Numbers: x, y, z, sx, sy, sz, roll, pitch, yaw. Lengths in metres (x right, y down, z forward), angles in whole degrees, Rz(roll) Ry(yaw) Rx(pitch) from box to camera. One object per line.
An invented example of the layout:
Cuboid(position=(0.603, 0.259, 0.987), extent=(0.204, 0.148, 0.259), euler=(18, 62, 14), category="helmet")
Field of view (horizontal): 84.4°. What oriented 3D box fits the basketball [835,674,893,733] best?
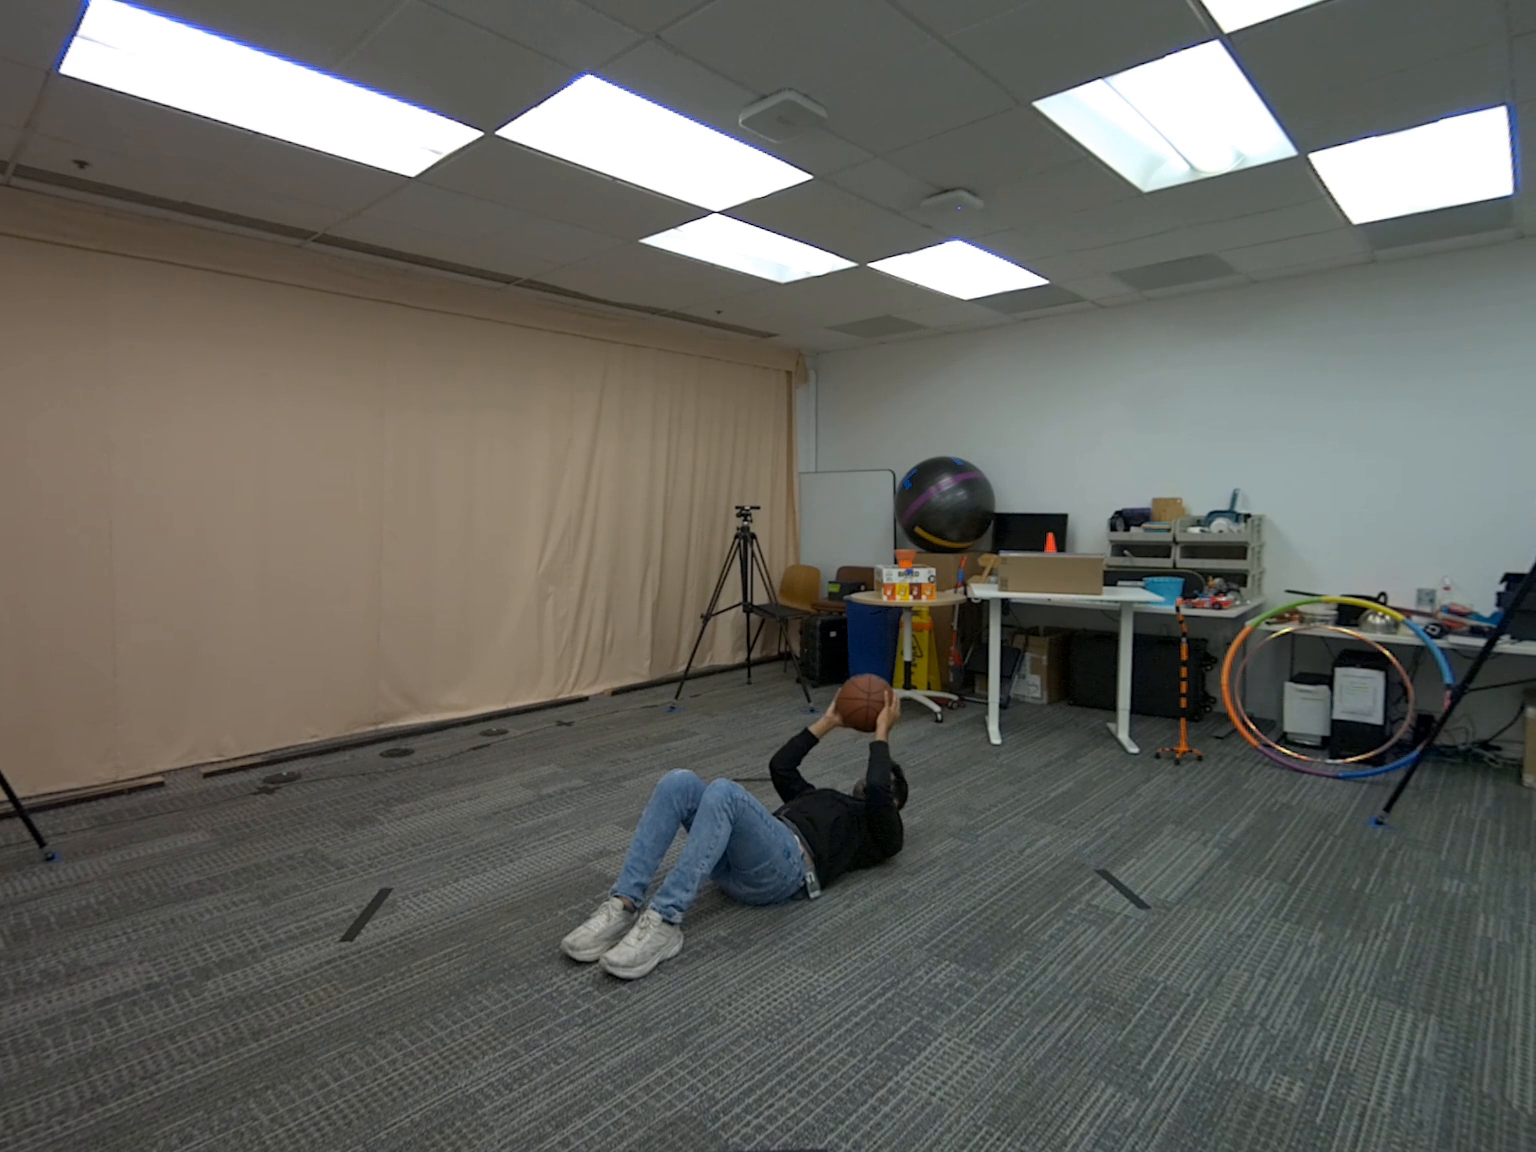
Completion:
Cuboid(position=(0.404, 0.536, 3.472), extent=(0.236, 0.235, 0.237), euler=(0, 4, -2), category="basketball")
